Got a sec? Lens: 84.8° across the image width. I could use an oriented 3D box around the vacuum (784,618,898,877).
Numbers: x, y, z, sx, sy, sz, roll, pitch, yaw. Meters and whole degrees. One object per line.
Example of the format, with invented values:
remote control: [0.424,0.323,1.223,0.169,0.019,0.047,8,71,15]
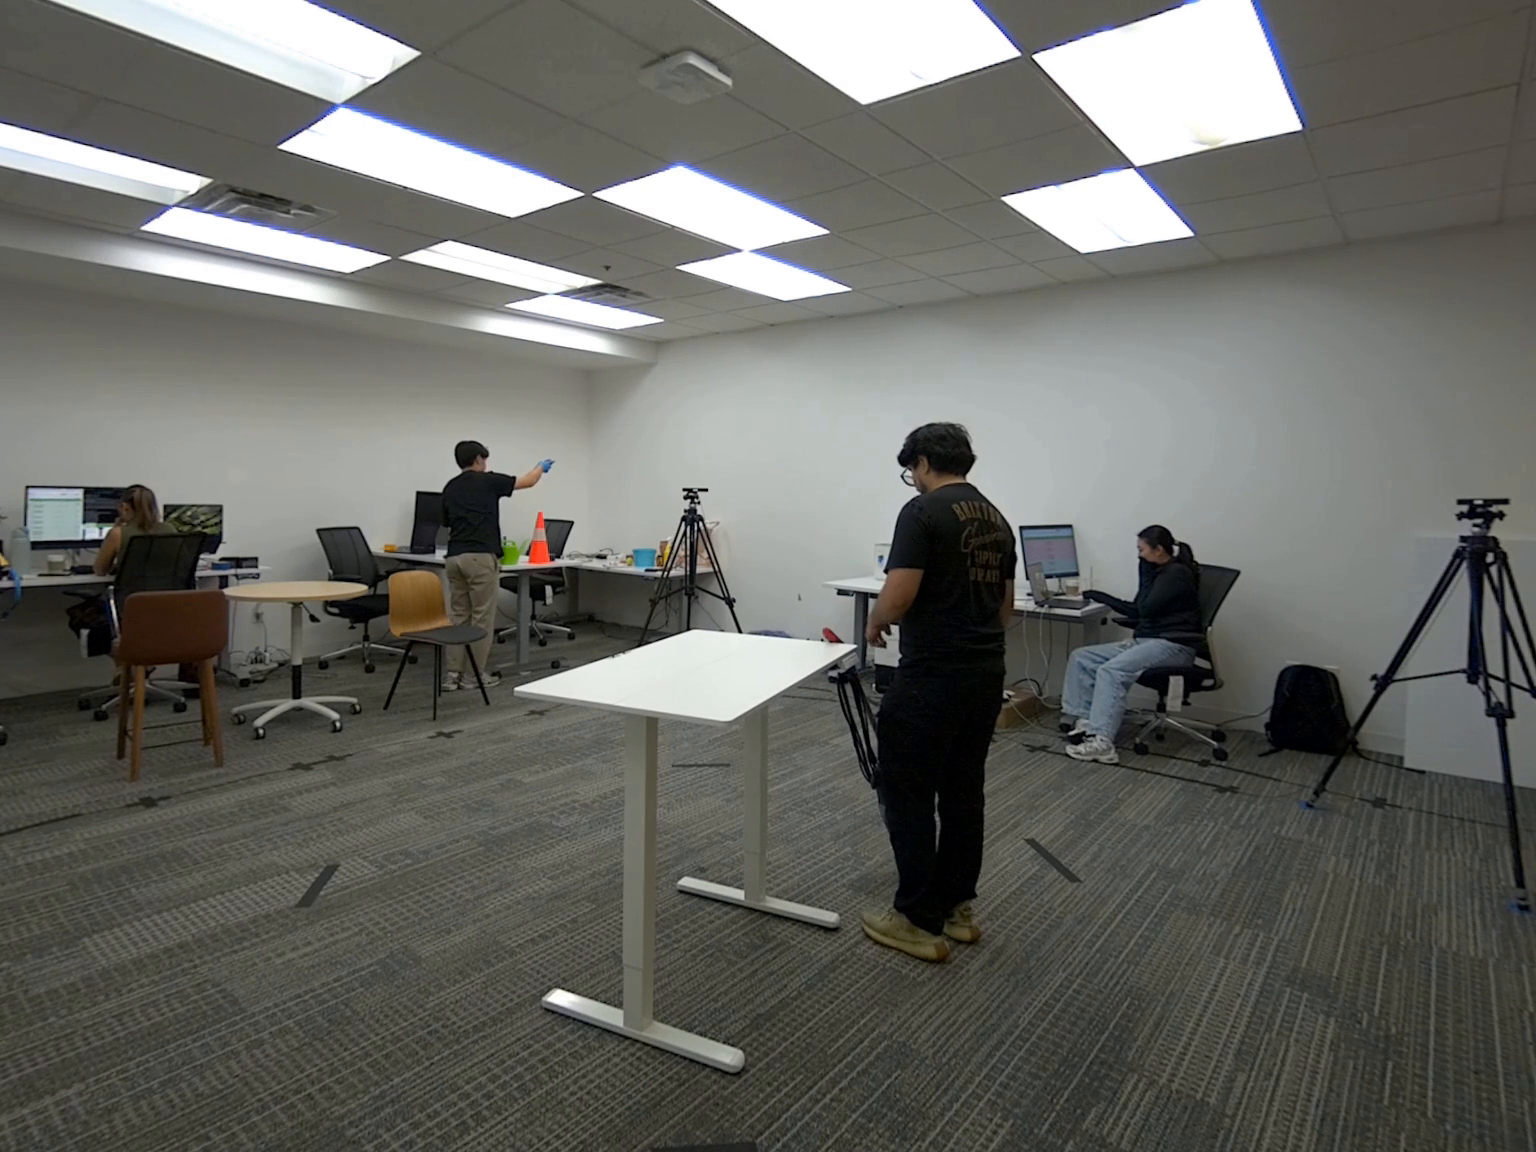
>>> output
vacuum: [0.372,0.631,2.954,0.260,1.023,0.143,-1,29,45]
